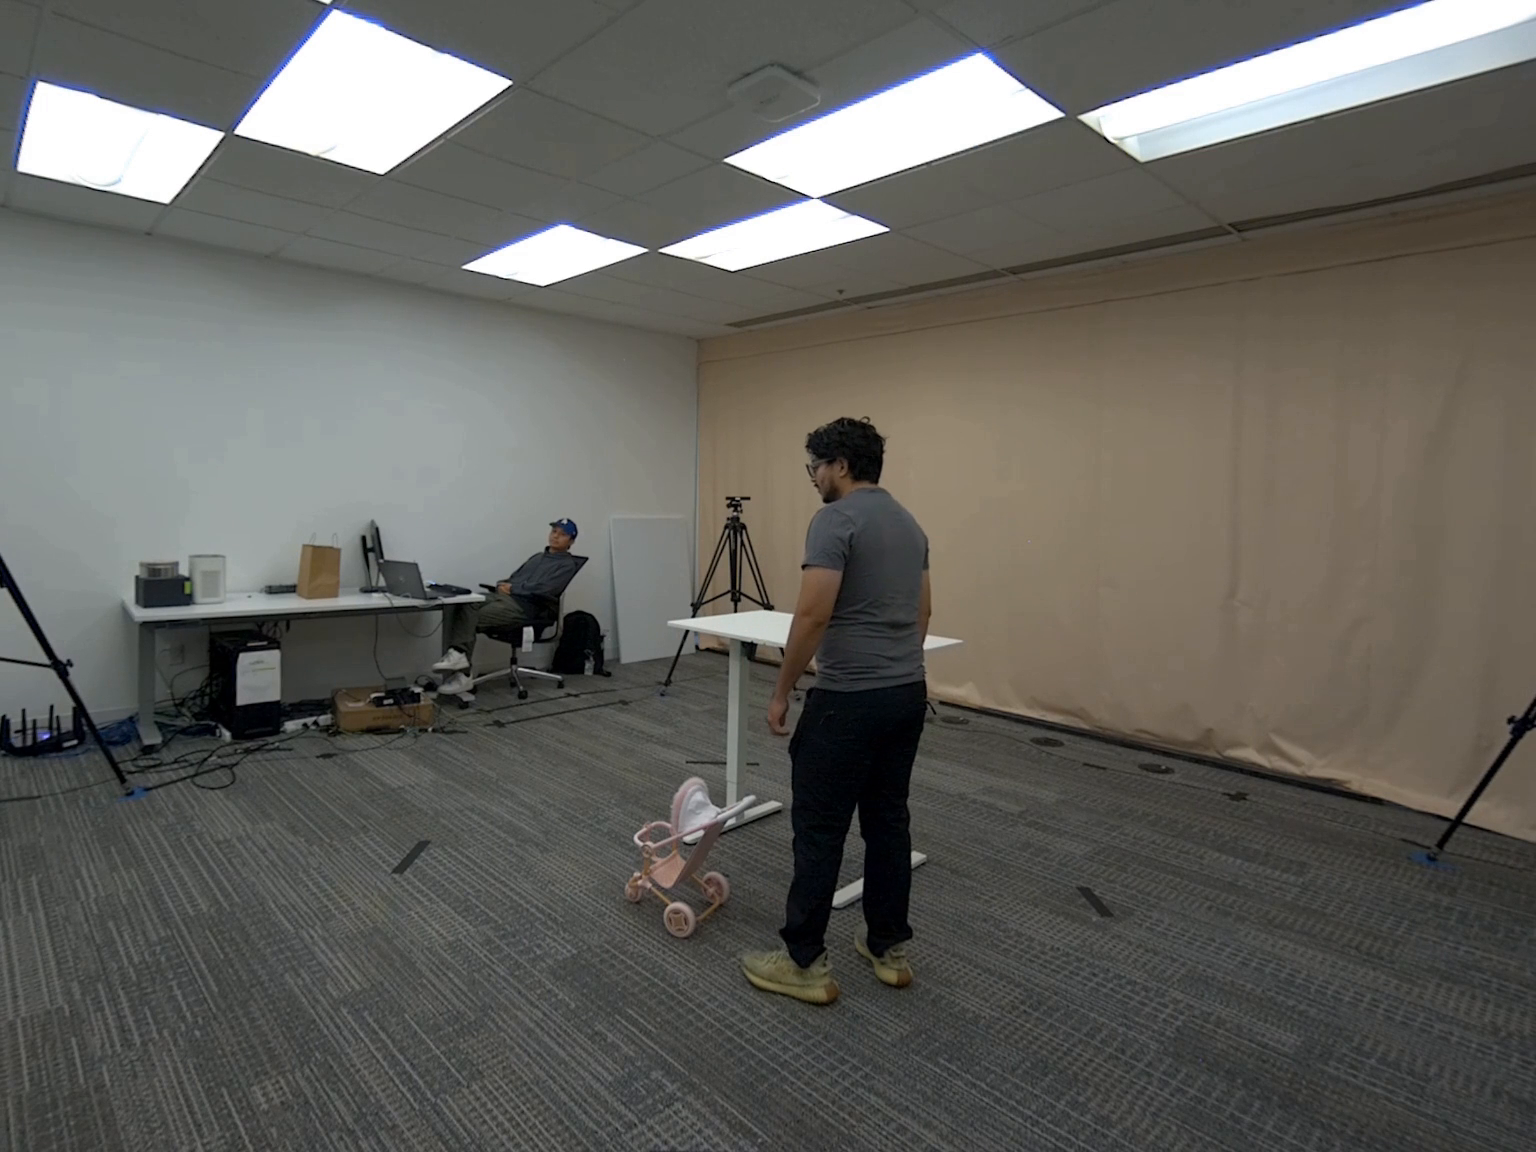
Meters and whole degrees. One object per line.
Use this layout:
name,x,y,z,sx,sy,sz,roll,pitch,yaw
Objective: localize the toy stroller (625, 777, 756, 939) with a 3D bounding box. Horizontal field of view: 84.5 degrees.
toy stroller,-0.287,0.909,2.795,0.350,0.532,0.276,22,12,27
